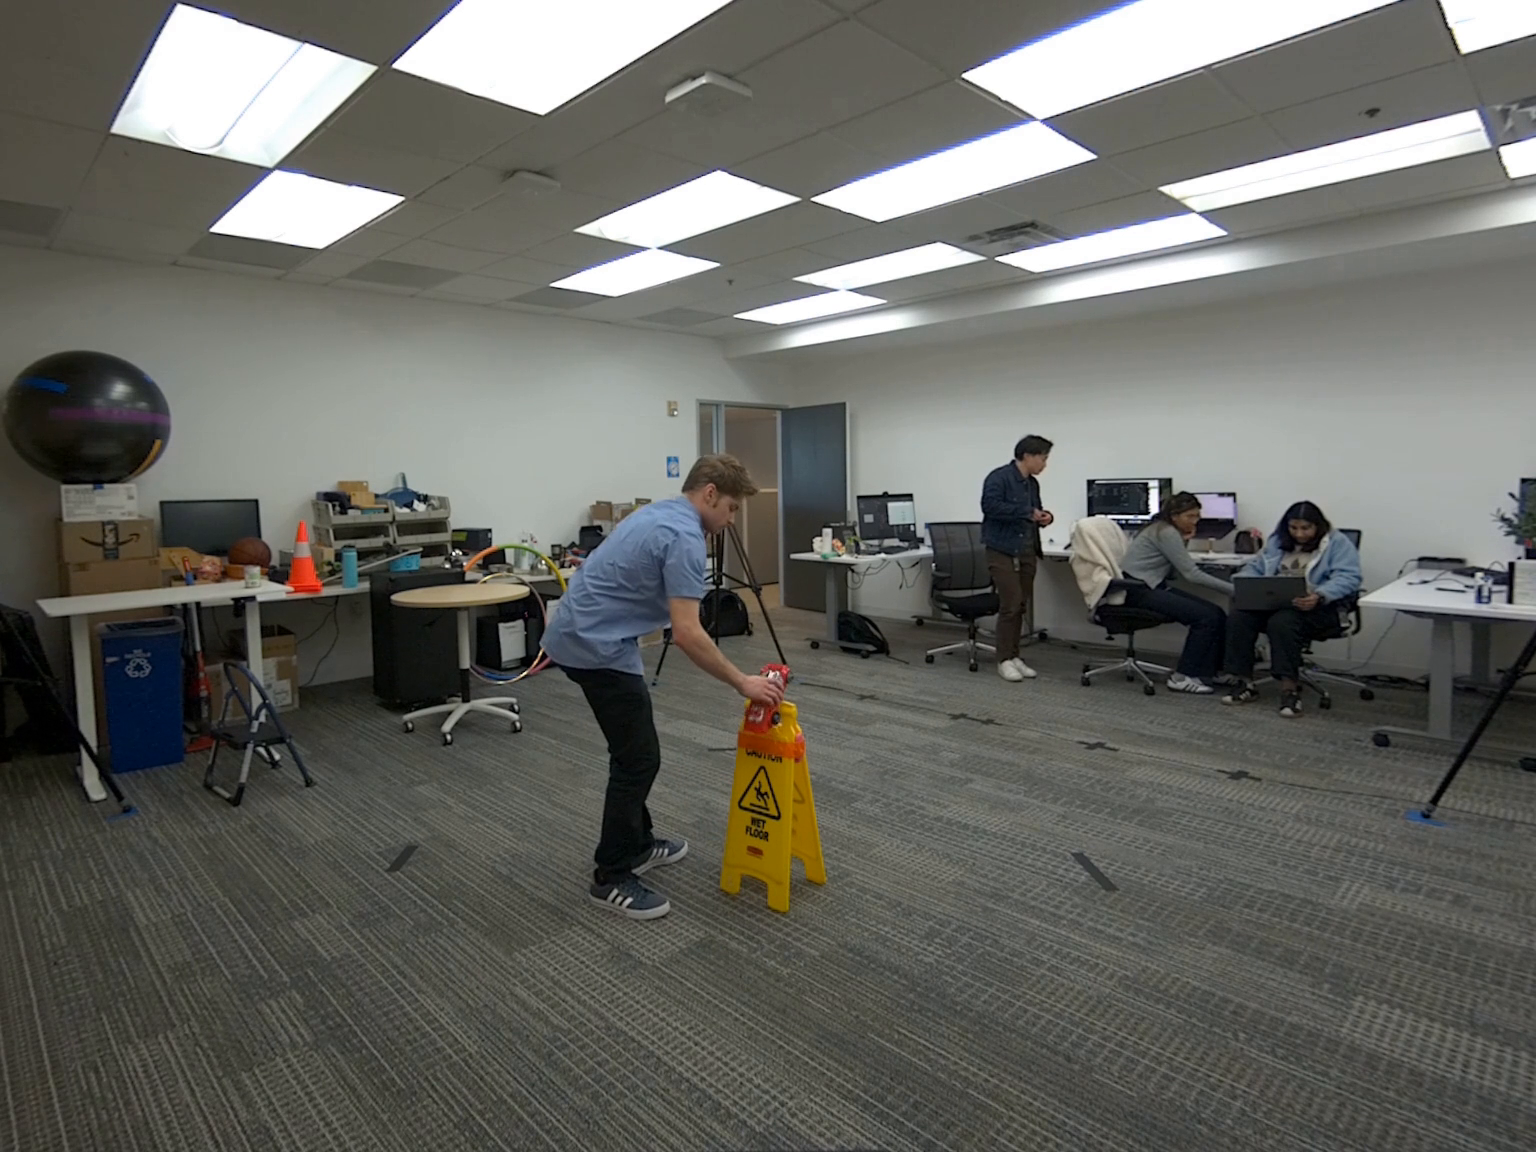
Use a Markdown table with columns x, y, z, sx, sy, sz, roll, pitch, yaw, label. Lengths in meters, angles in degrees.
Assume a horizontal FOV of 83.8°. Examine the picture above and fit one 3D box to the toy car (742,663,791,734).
| x | y | z | sx | sy | sz | roll | pitch | yaw | label |
| --- | --- | --- | --- | --- | --- | --- | --- | --- | --- |
| -0.008 | 0.423 | 2.855 | 0.134 | 0.256 | 0.080 | 4 | -39 | 39 | toy car |
